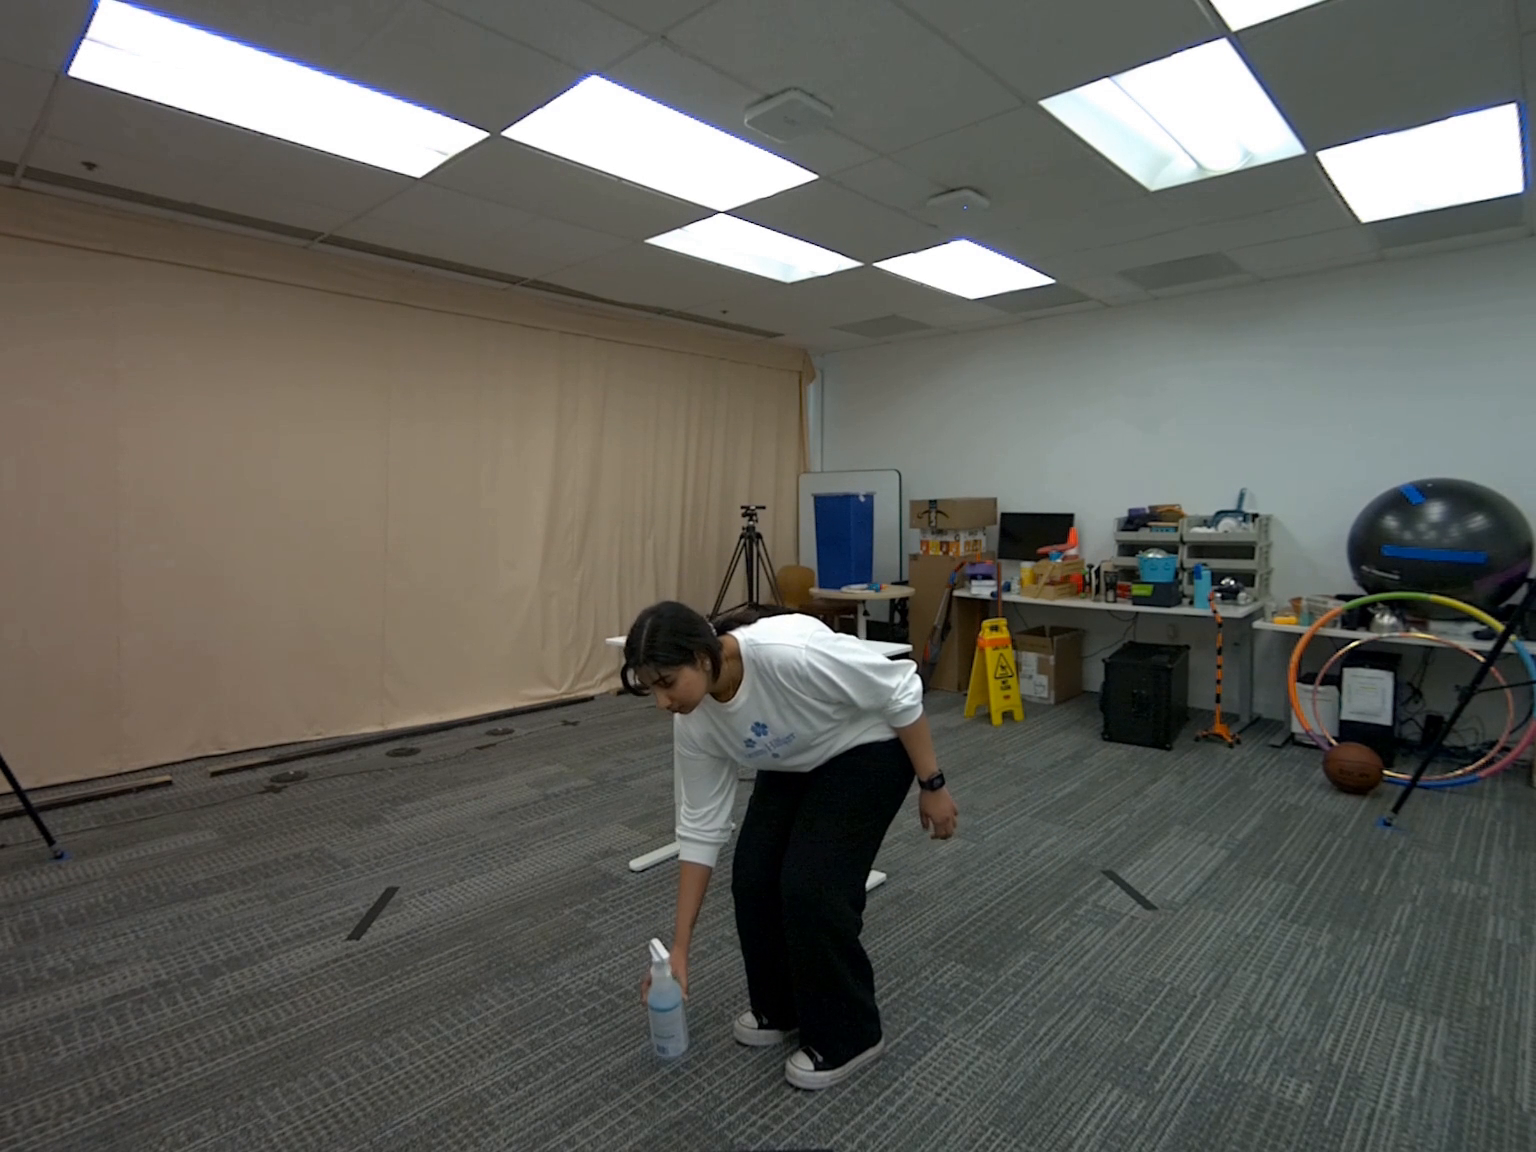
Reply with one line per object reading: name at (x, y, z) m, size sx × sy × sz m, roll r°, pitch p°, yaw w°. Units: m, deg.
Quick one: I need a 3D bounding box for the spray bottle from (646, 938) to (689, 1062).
spray bottle at (-0.228, 0.962, 1.919) m, size 0.087 × 0.295 × 0.091 m, roll -6°, pitch 11°, yaw 0°
